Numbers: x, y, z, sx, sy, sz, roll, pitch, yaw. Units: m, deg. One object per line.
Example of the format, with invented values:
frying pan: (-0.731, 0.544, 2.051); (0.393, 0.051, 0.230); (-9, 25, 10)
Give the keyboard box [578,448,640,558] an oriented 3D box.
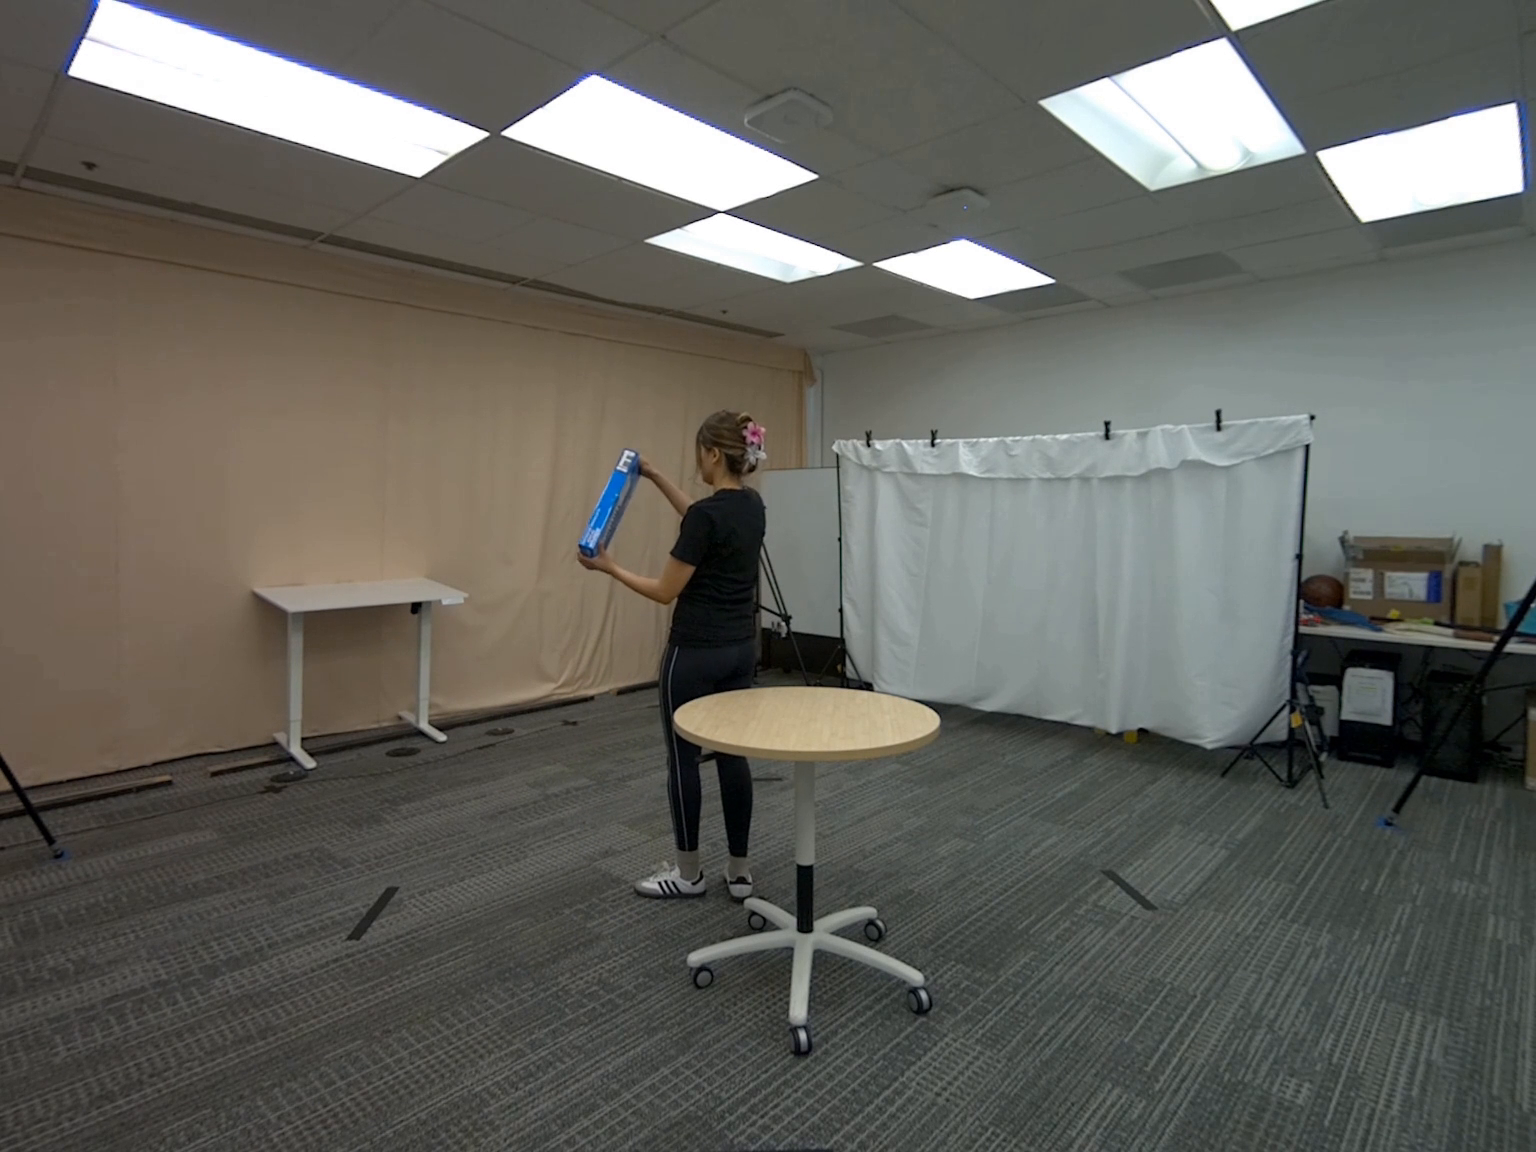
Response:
keyboard box: (-0.578, -0.246, 3.117); (0.059, 0.439, 0.174); (18, -26, 4)
